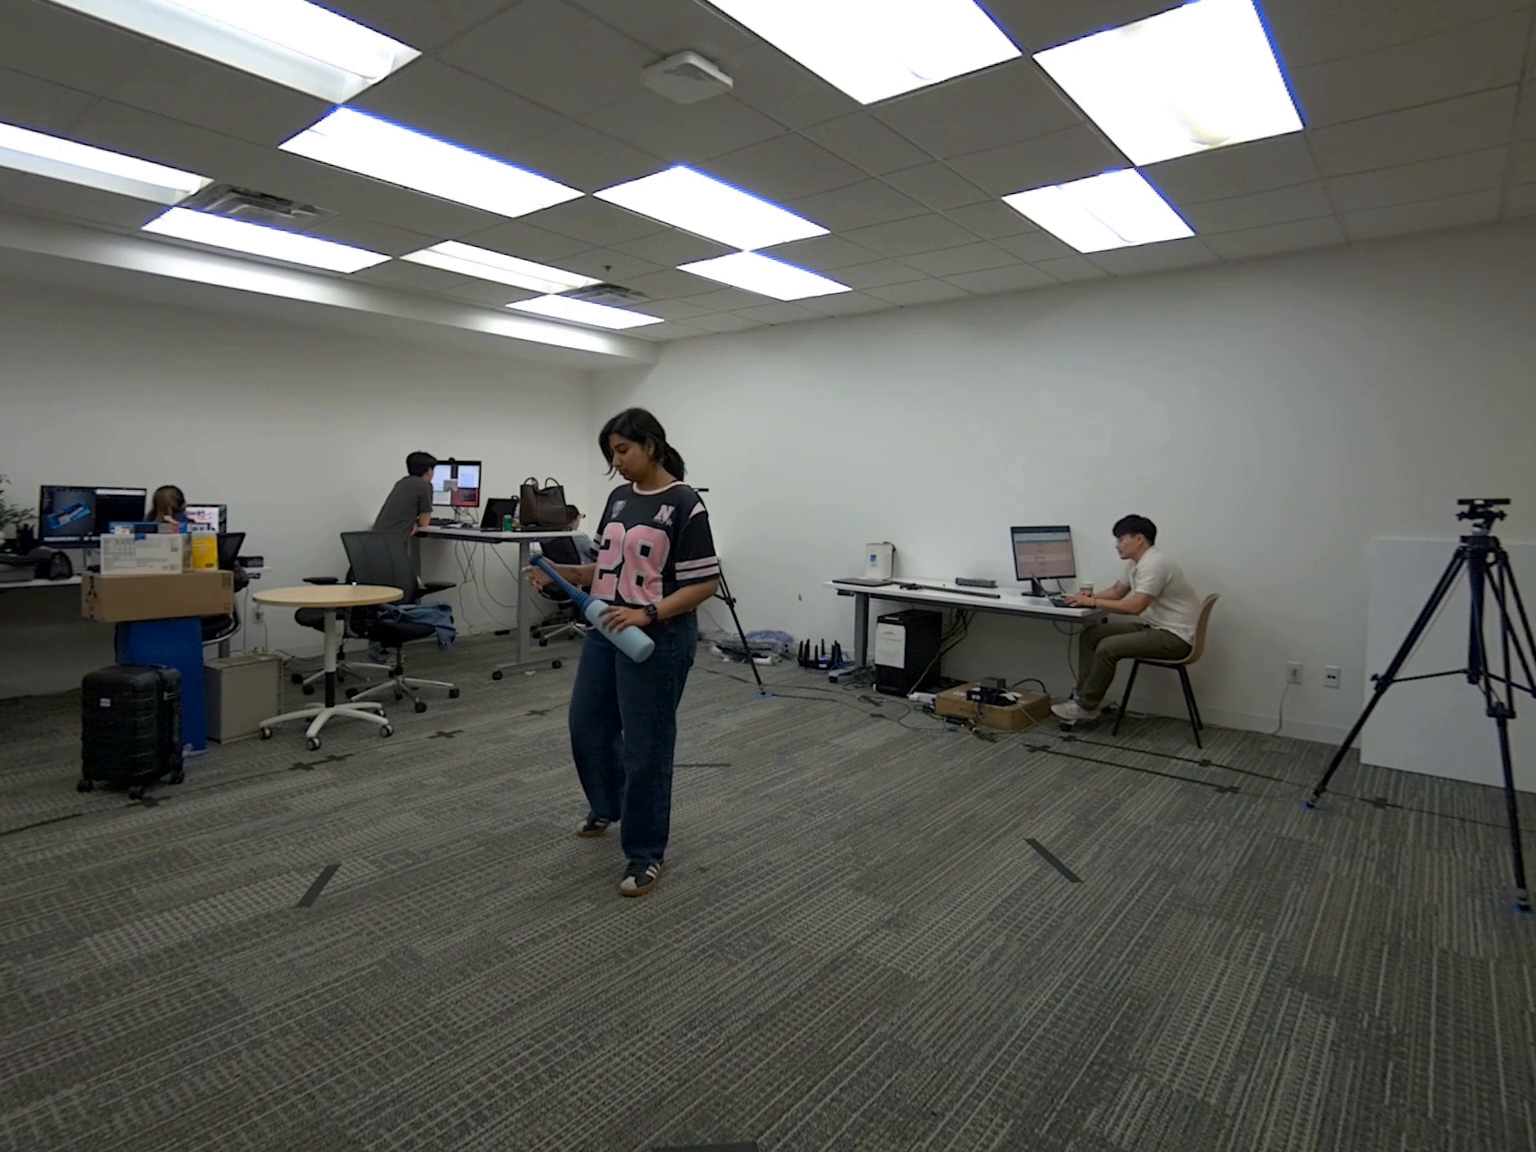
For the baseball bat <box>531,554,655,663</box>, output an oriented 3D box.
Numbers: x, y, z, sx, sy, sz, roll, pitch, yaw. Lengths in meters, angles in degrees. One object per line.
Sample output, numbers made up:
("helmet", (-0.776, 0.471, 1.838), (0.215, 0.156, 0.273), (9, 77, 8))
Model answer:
("baseball bat", (-0.596, 0.087, 2.795), (0.559, 0.088, 0.087), (38, 19, 21))
